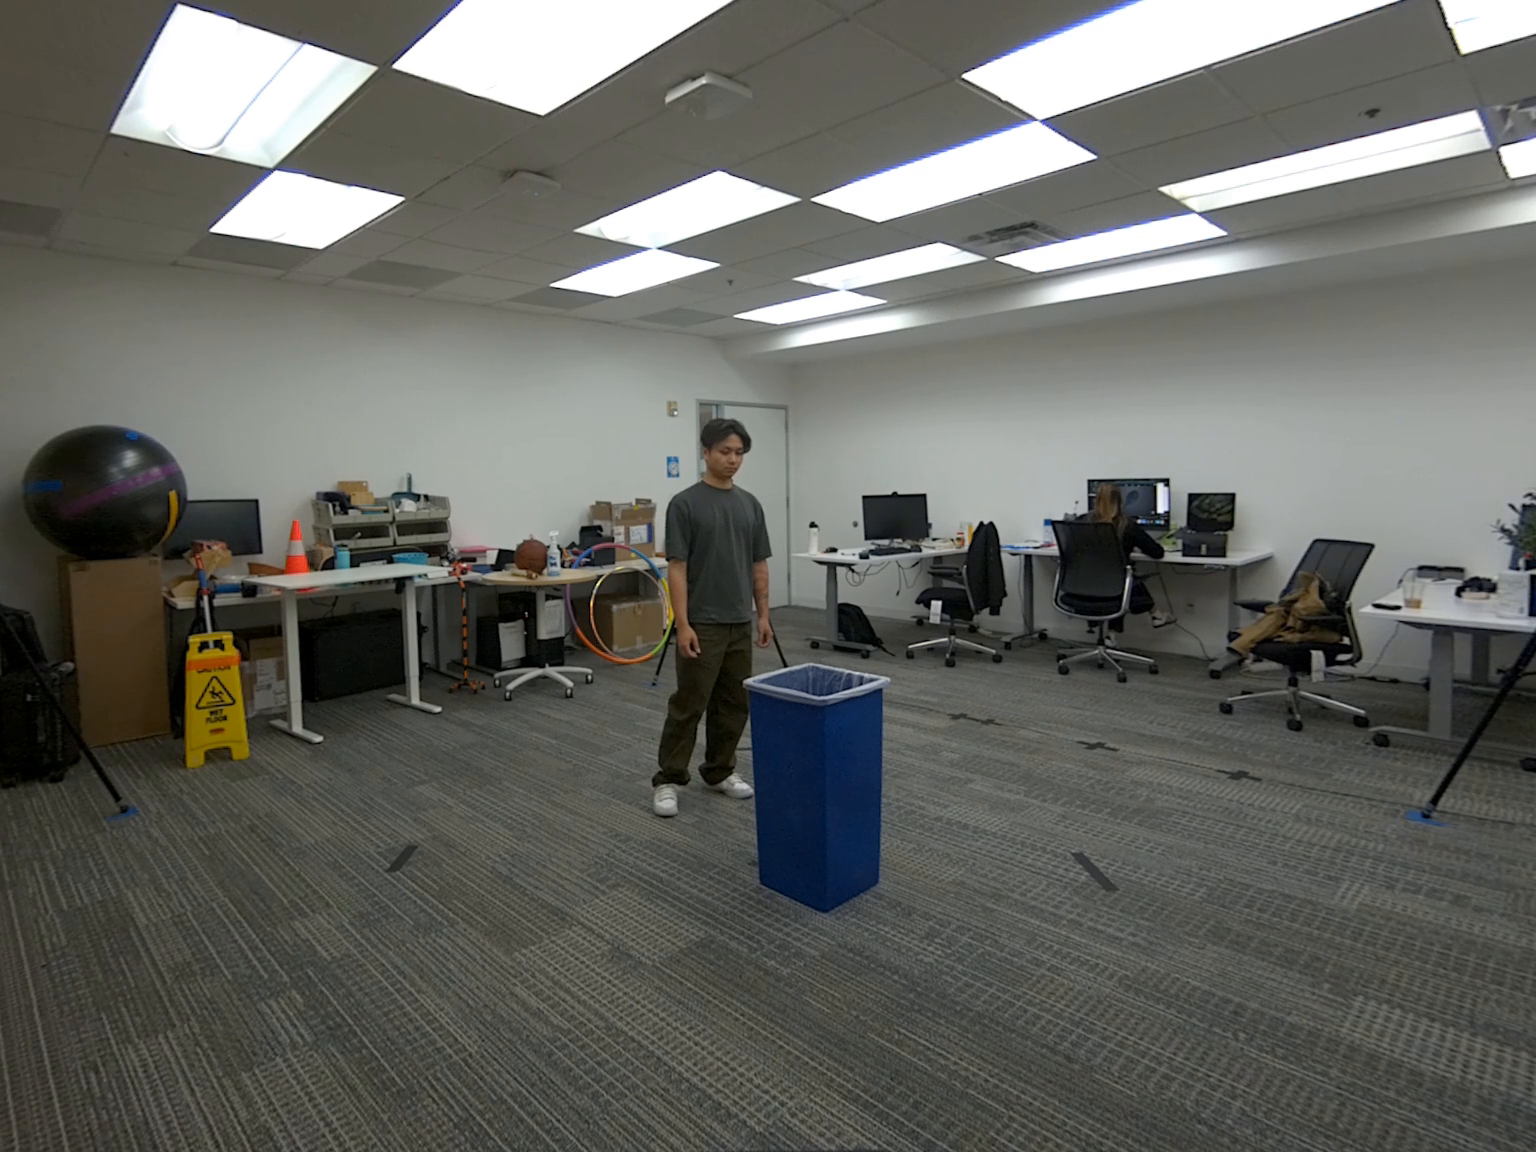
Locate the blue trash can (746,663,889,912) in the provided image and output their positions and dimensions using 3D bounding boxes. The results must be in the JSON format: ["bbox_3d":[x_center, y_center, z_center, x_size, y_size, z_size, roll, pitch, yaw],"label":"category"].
[{"bbox_3d":[0.172,0.704,2.917,0.389,0.711,0.364,3,5,44],"label":"blue trash can"}]
